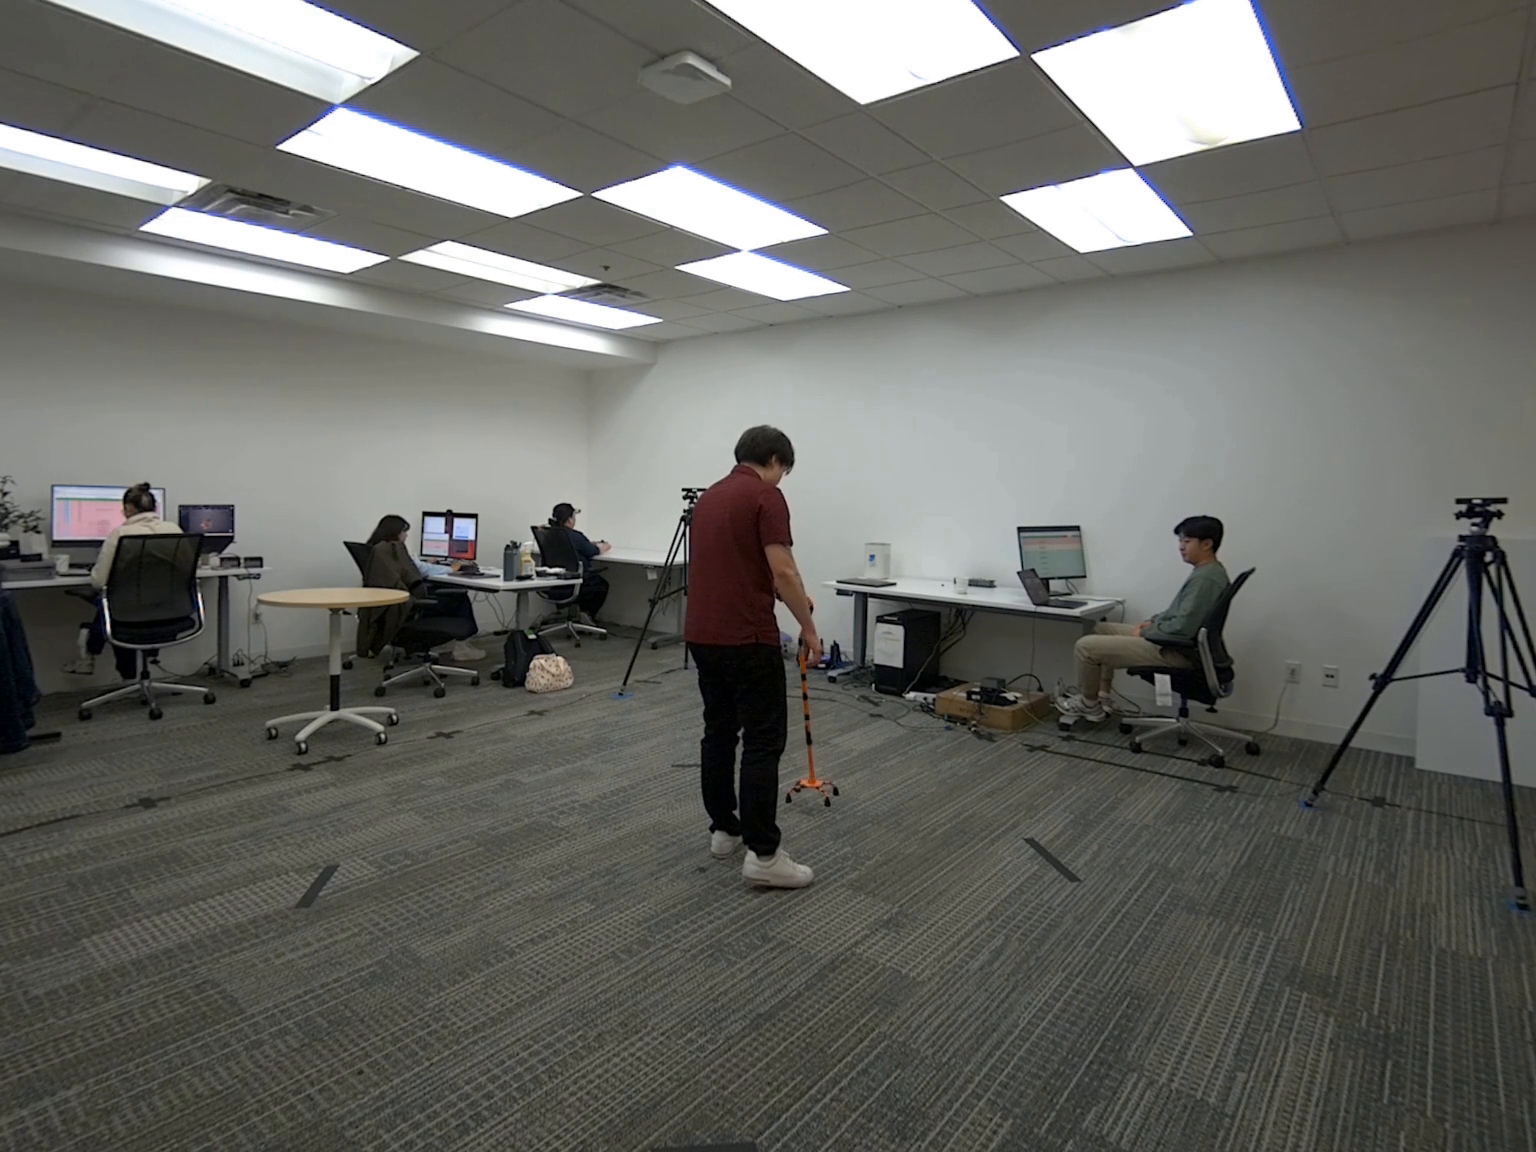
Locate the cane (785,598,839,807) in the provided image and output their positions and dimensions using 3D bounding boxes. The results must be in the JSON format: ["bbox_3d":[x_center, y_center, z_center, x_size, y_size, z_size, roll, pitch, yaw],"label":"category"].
[{"bbox_3d":[0.145,0.525,3.681,0.211,0.904,0.149,-3,4,23],"label":"cane"}]
